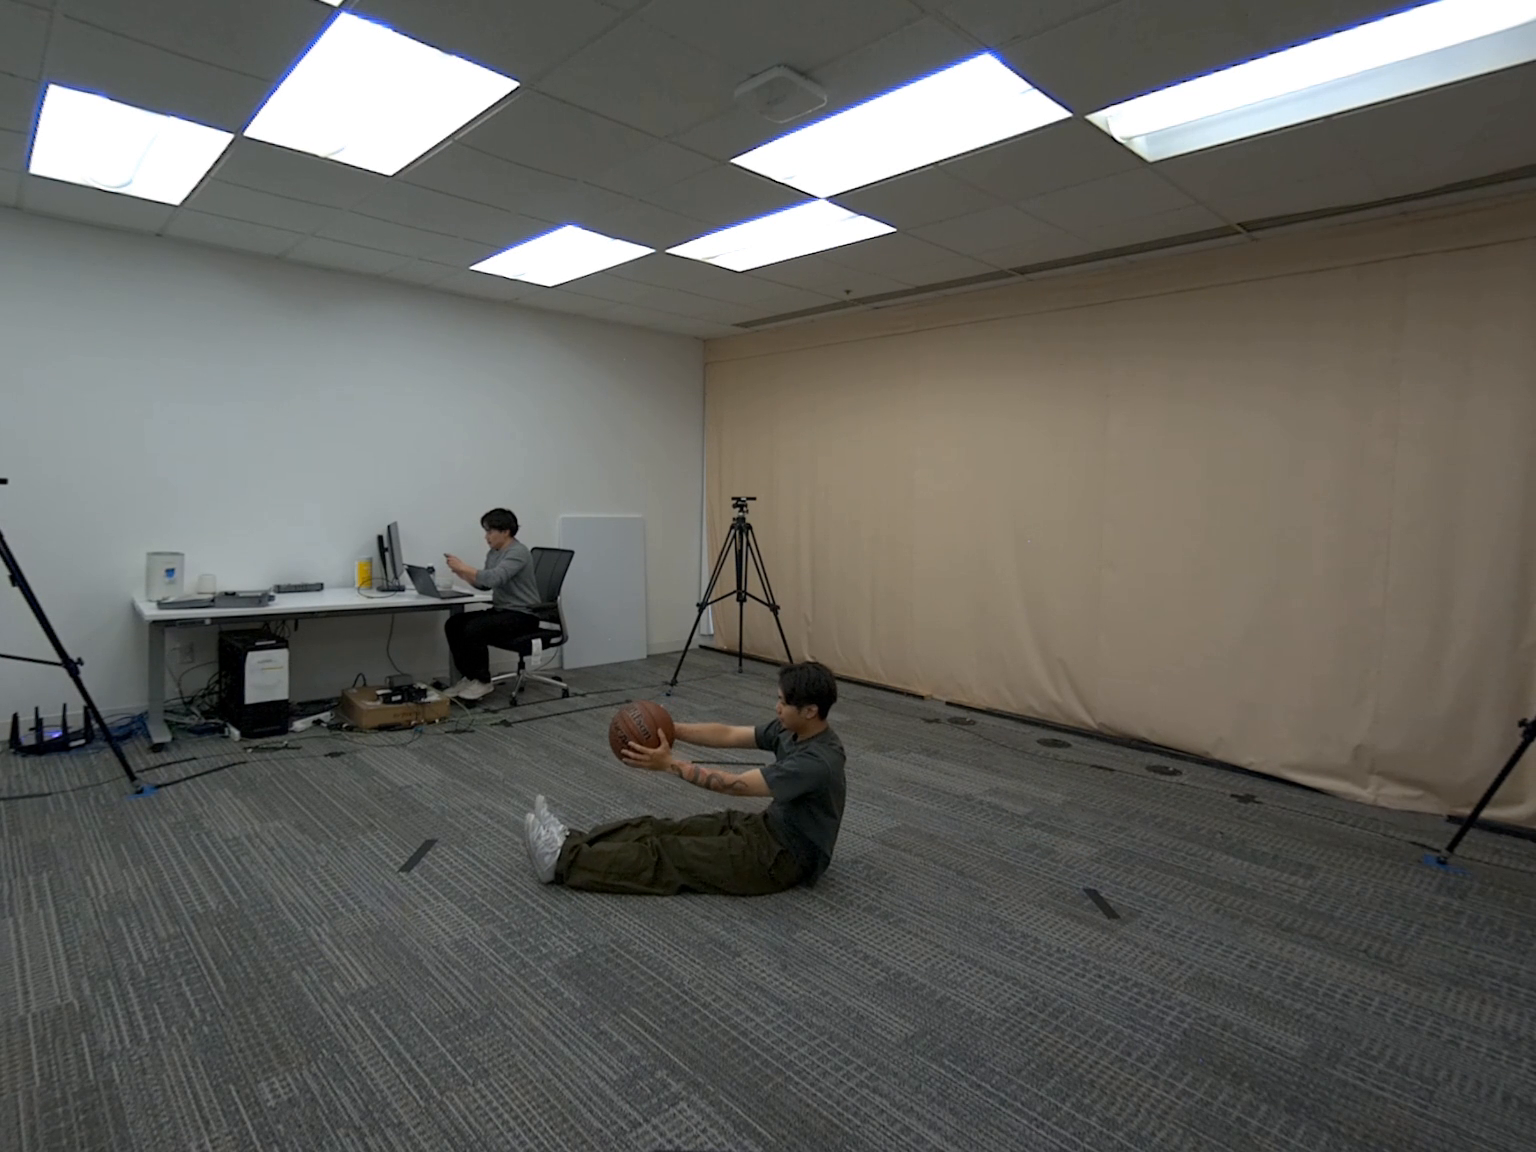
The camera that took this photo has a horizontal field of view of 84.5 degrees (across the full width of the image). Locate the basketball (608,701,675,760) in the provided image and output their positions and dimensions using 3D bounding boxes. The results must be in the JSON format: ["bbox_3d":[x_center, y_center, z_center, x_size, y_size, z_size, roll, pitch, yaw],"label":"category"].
[{"bbox_3d":[-0.452,0.571,3.029,0.236,0.235,0.237,1,4,-1],"label":"basketball"}]
